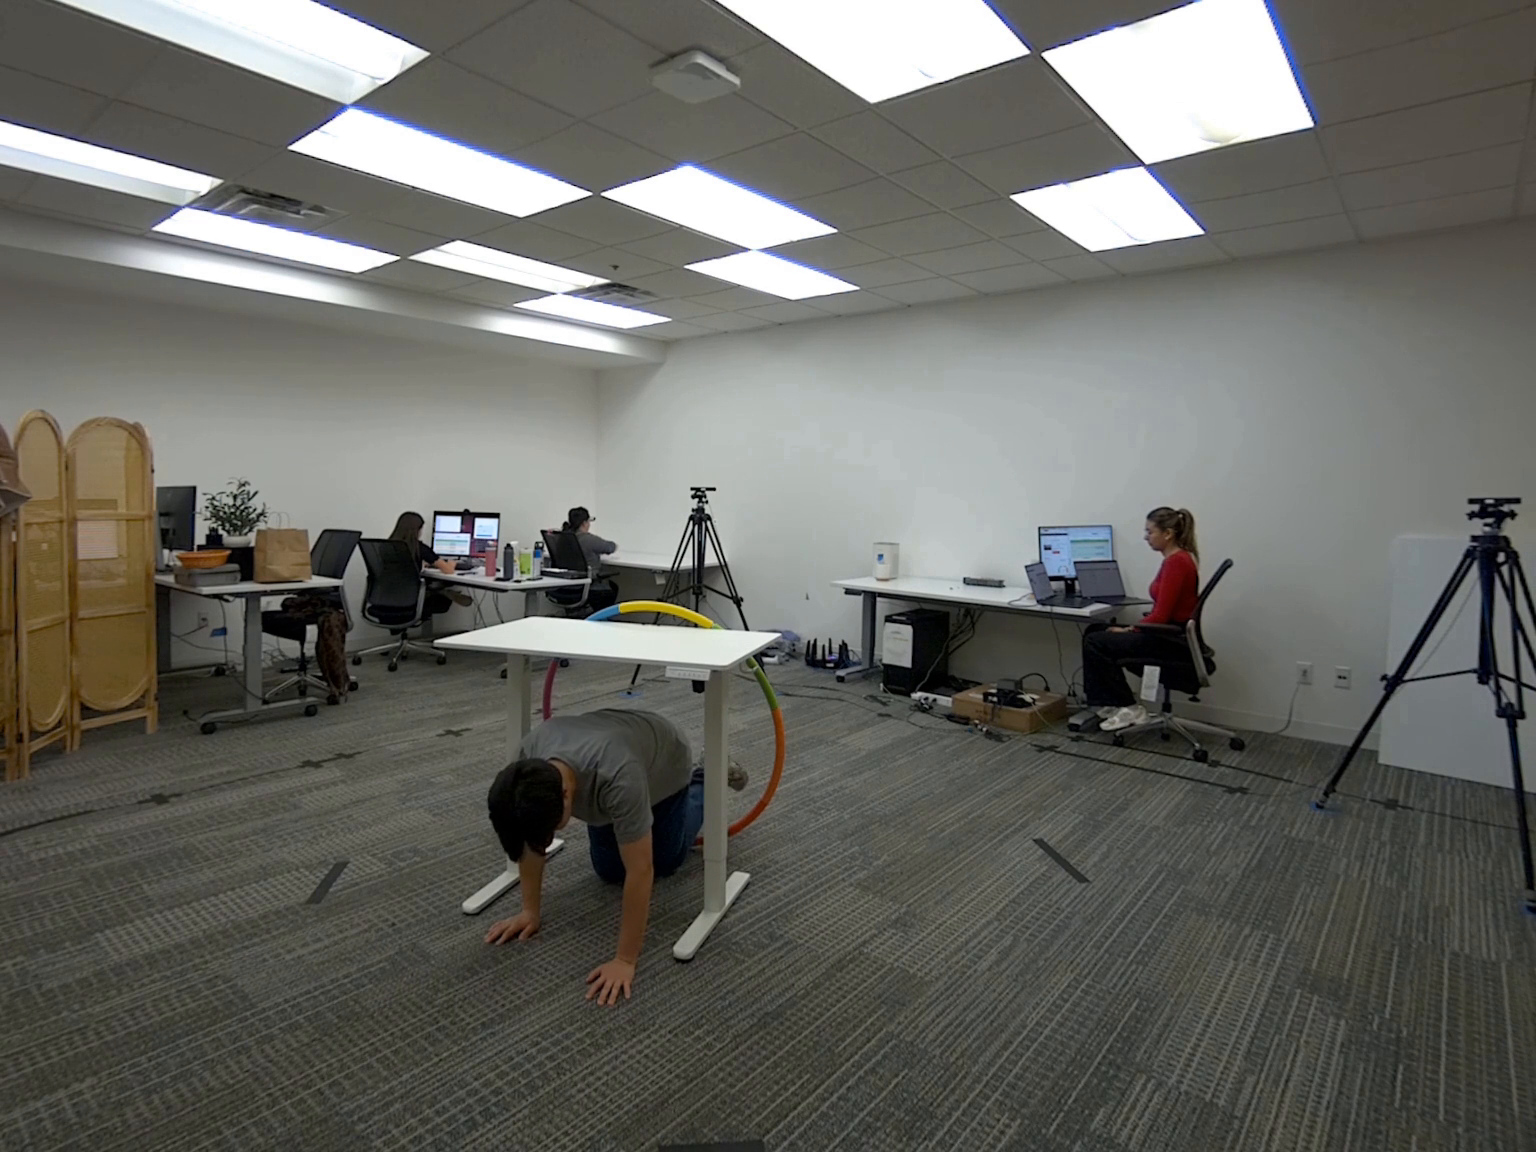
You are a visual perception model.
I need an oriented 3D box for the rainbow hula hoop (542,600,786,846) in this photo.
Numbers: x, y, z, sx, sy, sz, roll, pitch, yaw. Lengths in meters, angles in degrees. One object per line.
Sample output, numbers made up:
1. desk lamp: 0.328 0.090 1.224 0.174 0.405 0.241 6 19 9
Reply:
1. rainbow hula hoop: -0.422 0.569 3.220 0.998 0.967 0.035 3 12 18
